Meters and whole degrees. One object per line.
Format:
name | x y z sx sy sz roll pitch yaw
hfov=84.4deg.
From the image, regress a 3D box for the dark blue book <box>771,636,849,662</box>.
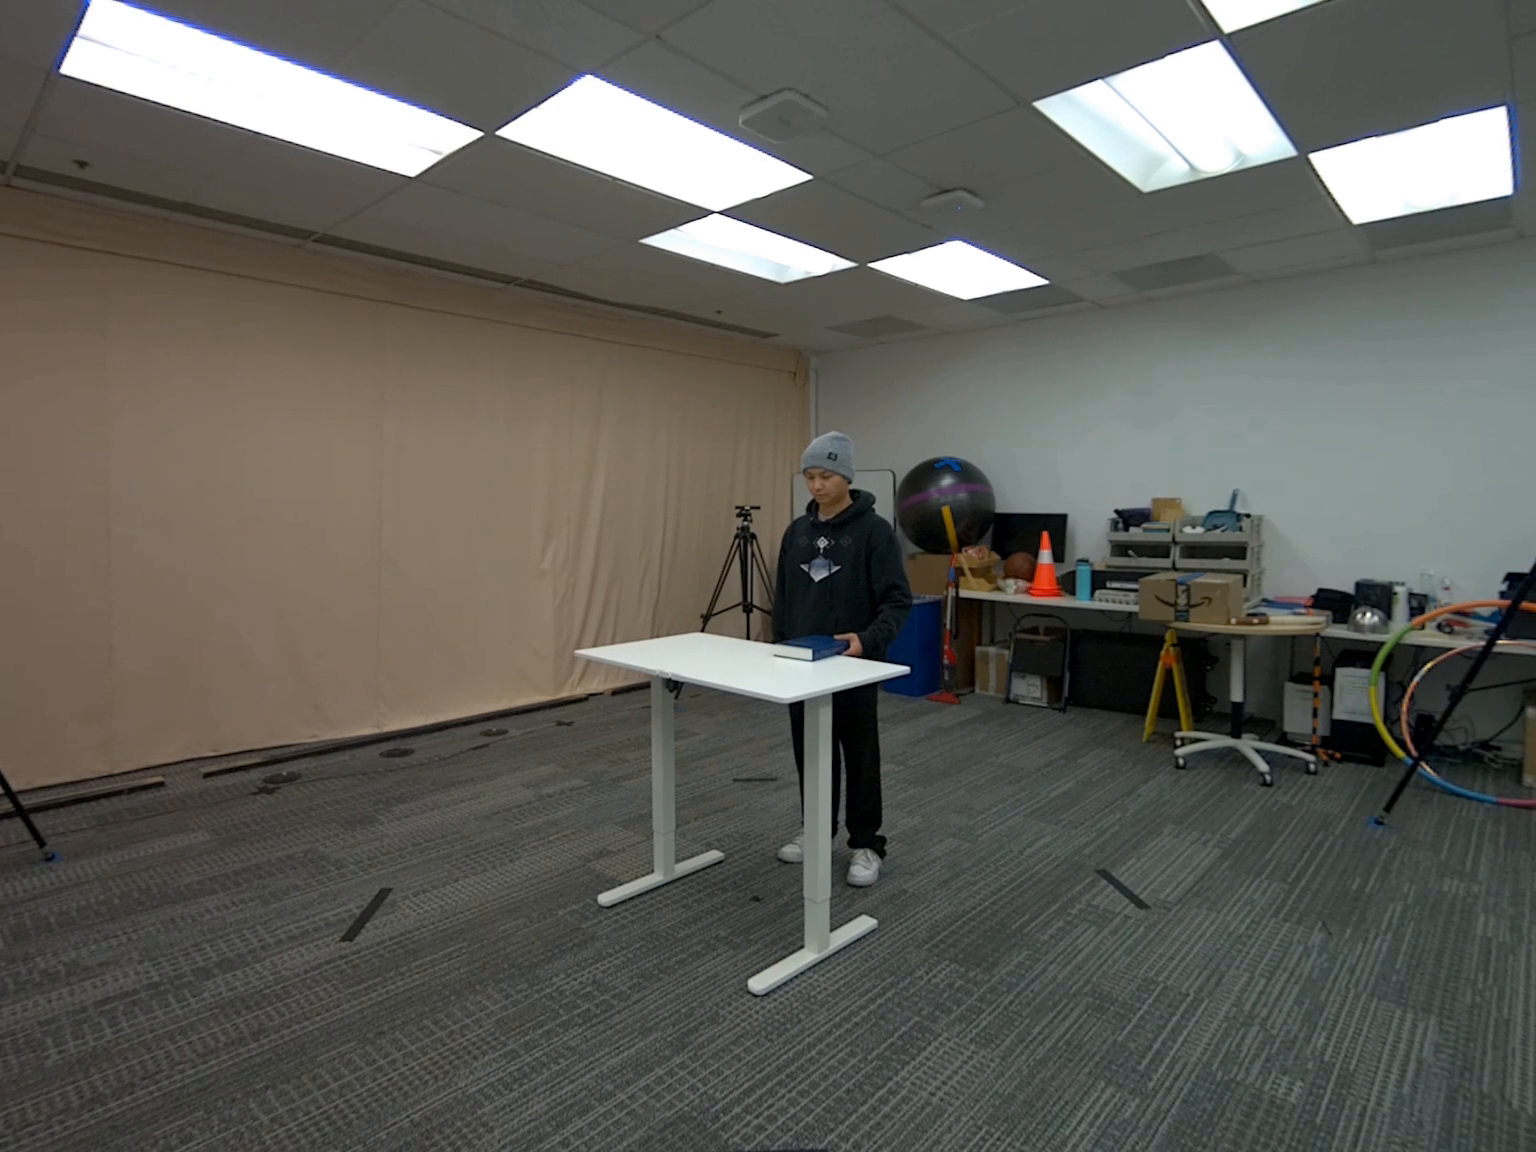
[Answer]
dark blue book | 0.153 0.248 2.900 0.169 0.045 0.238 5 6 38
